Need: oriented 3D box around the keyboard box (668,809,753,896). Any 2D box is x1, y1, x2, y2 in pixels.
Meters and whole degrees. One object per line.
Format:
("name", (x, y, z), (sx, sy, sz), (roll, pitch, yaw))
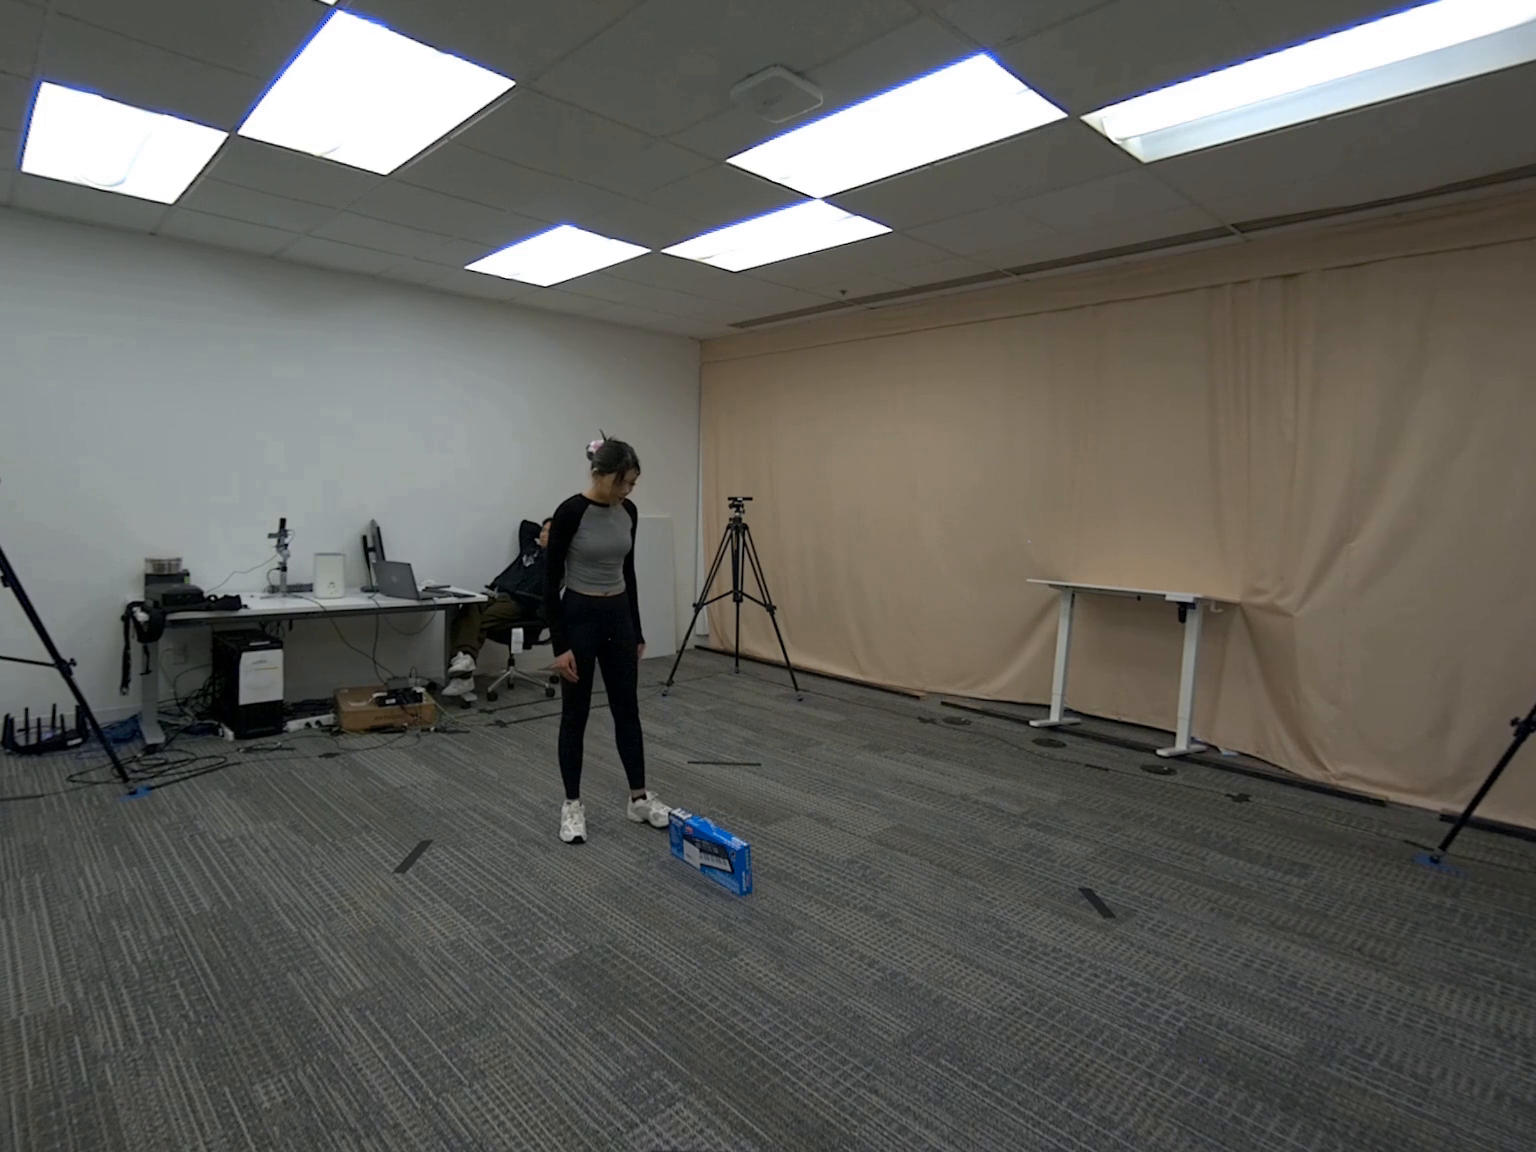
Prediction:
("keyboard box", (-0.228, 1.019, 3.124), (0.058, 0.175, 0.448), (-8, 10, -39))
